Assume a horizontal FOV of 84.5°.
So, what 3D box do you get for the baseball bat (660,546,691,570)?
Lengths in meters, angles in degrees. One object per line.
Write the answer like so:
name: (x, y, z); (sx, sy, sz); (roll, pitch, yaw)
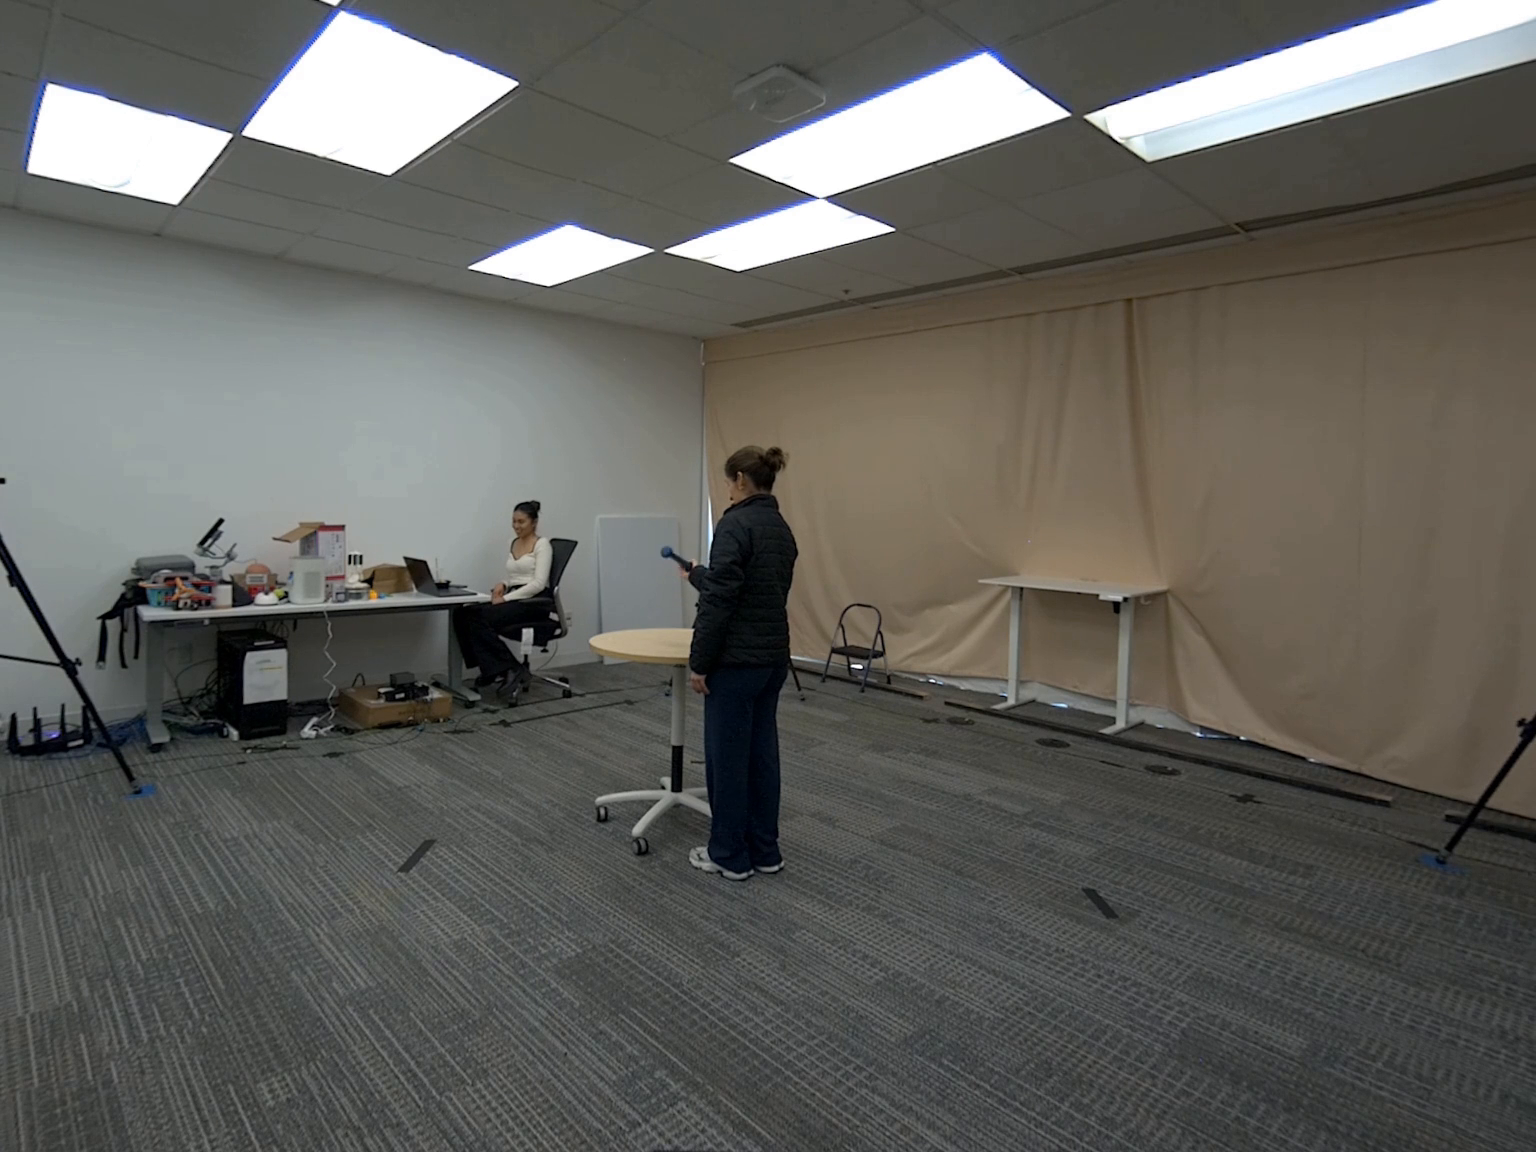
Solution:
baseball bat: (-0.315, -0.017, 3.556); (0.091, 0.090, 0.526); (4, -16, 31)
